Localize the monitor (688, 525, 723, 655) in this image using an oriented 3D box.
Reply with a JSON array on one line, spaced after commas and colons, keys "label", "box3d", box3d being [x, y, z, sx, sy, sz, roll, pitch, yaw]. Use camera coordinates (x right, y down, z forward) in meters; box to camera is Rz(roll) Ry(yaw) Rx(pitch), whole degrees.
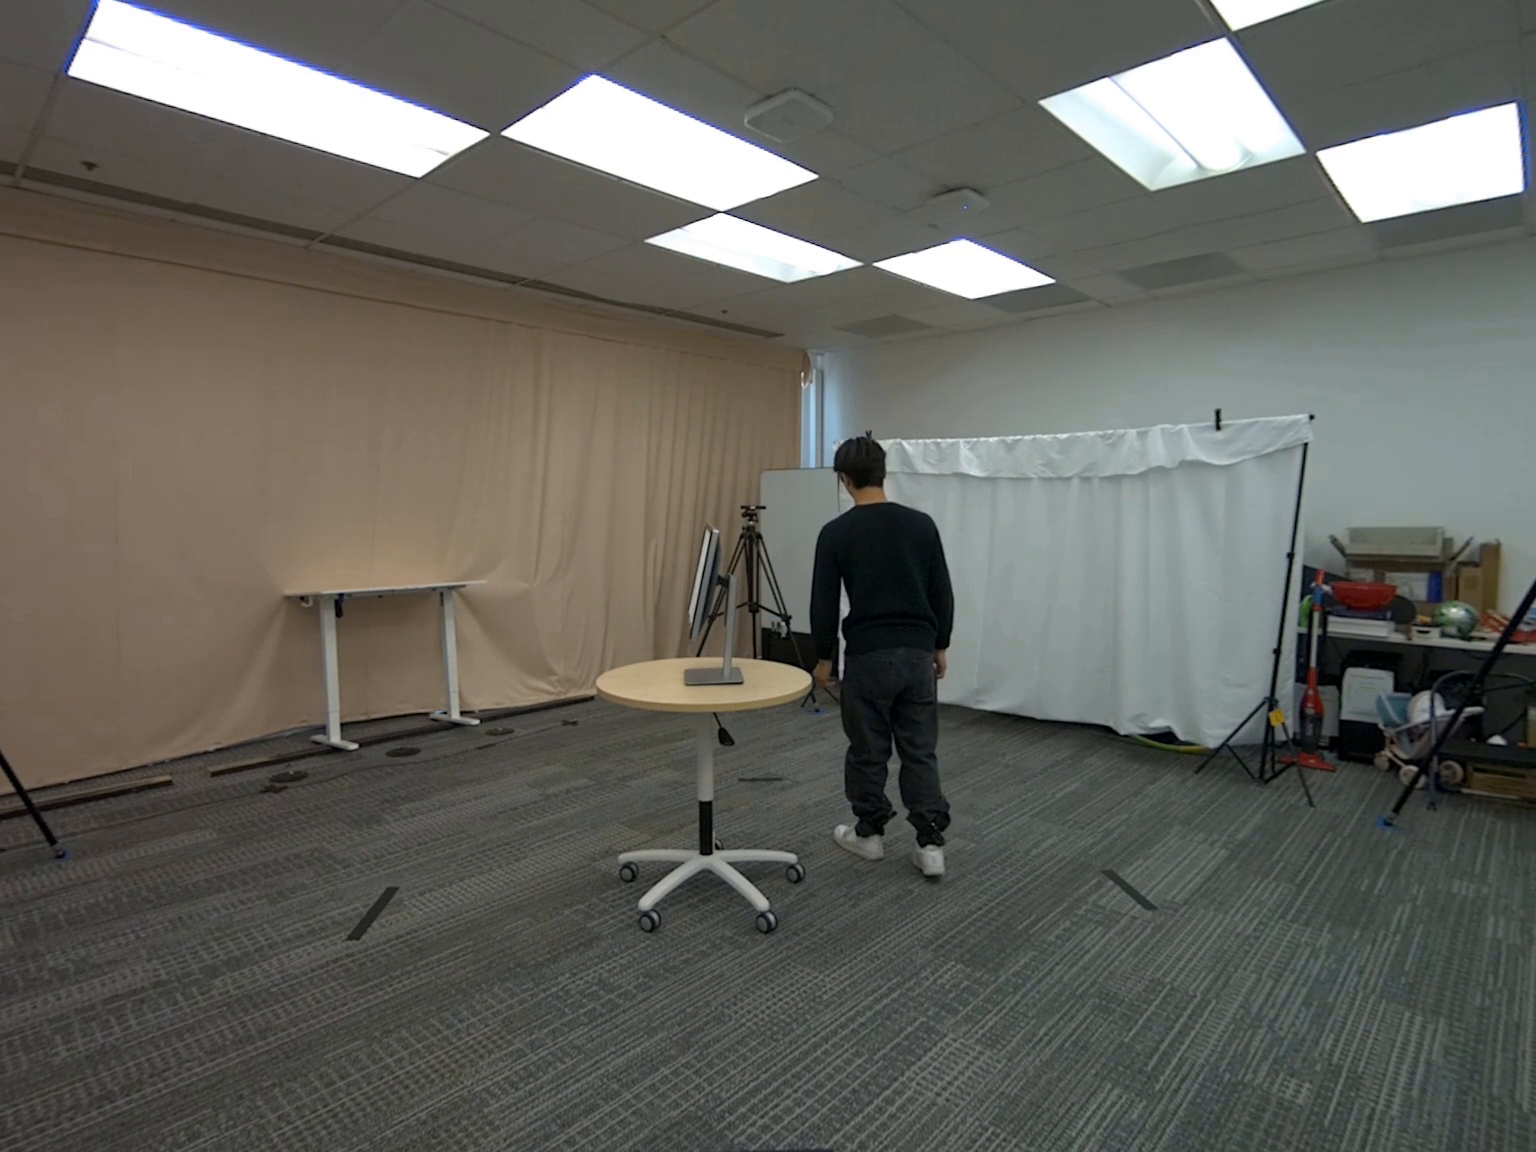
[{"label": "monitor", "box3d": [-0.190, 0.104, 2.987, 0.186, 0.521, 0.543, -1, 3, -6]}]
